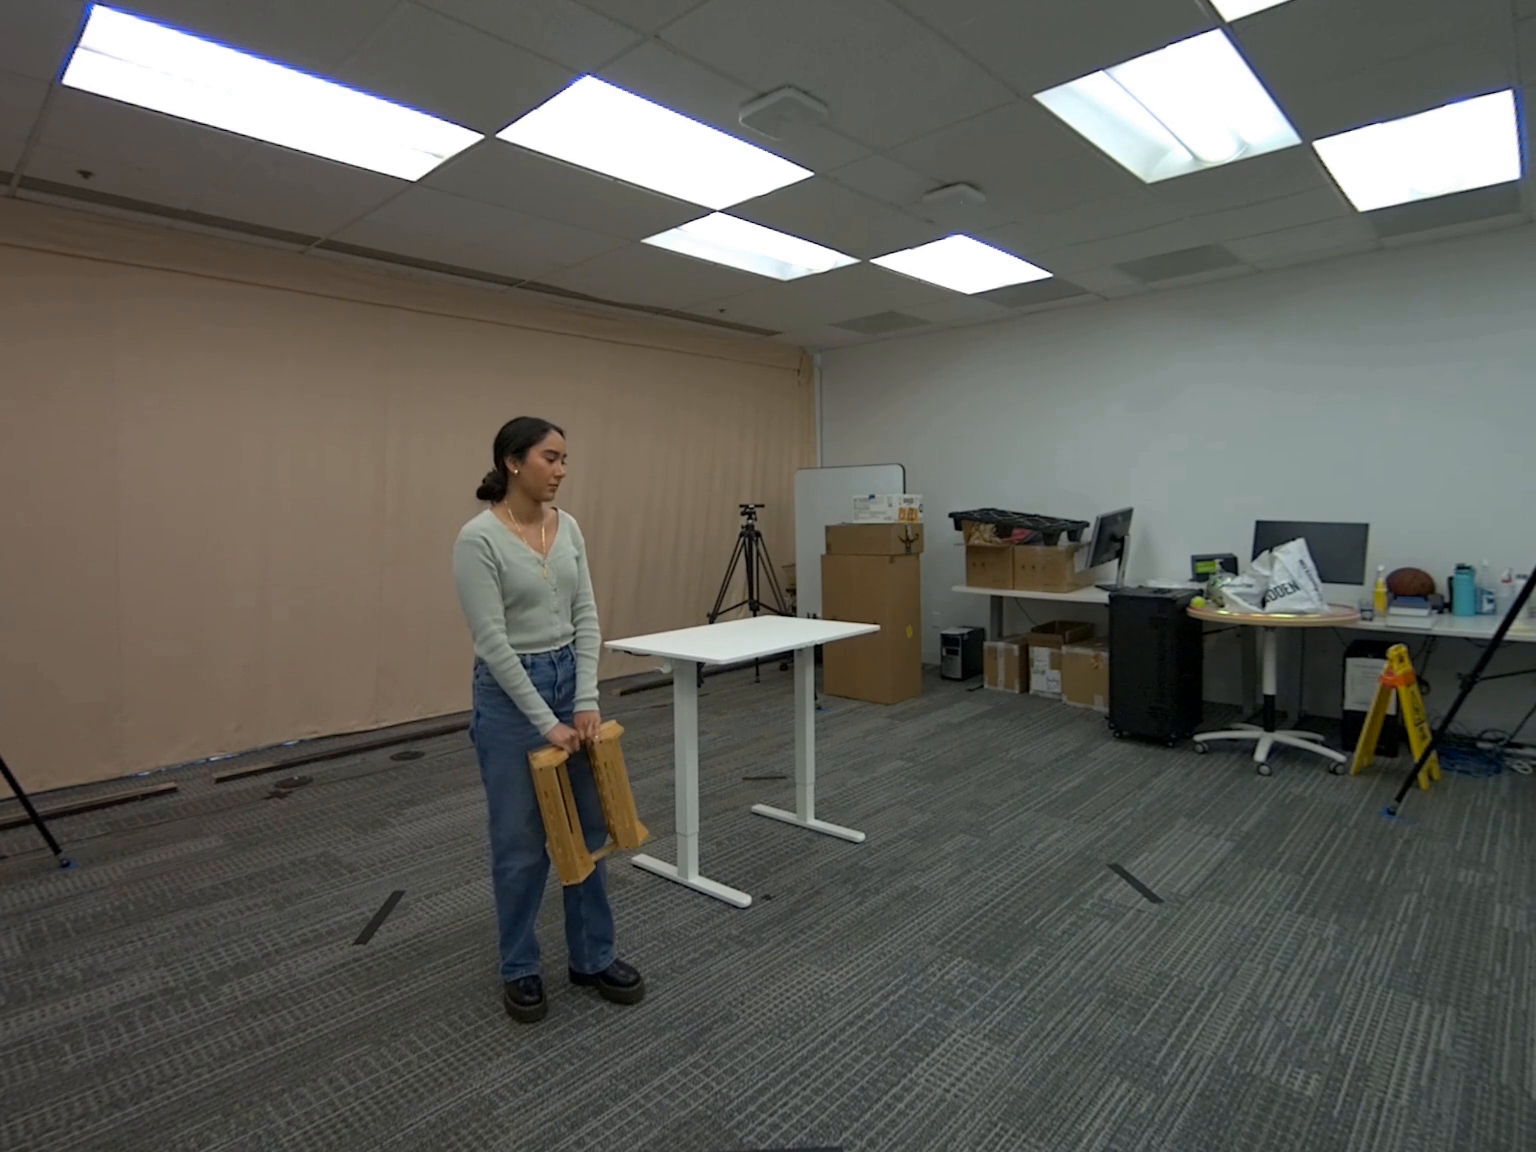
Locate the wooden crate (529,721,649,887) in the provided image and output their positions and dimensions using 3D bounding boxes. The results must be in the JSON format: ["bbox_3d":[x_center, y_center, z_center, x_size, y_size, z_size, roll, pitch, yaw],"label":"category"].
[{"bbox_3d":[-0.454,0.586,2.241,0.269,0.324,0.307,-14,2,-20],"label":"wooden crate"}]
